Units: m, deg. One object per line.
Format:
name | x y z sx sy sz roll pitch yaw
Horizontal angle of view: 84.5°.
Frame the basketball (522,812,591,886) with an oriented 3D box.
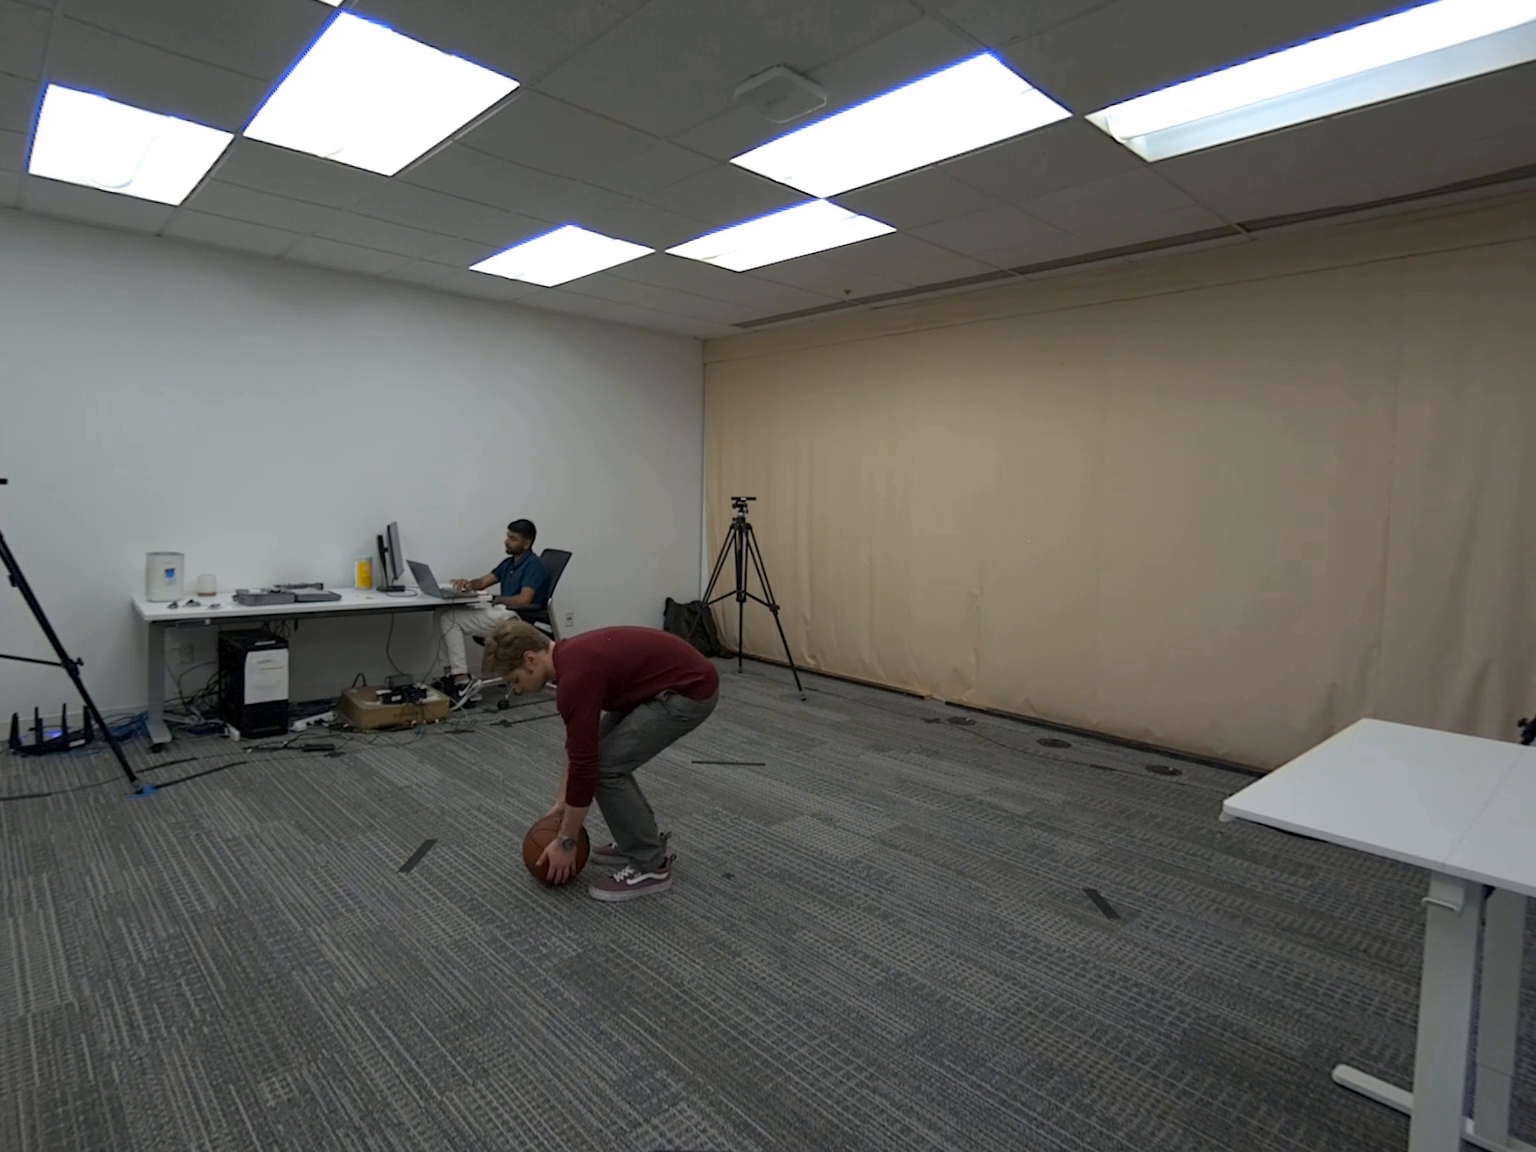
basketball | -0.772 0.976 3.027 0.236 0.235 0.237 1 4 -1
